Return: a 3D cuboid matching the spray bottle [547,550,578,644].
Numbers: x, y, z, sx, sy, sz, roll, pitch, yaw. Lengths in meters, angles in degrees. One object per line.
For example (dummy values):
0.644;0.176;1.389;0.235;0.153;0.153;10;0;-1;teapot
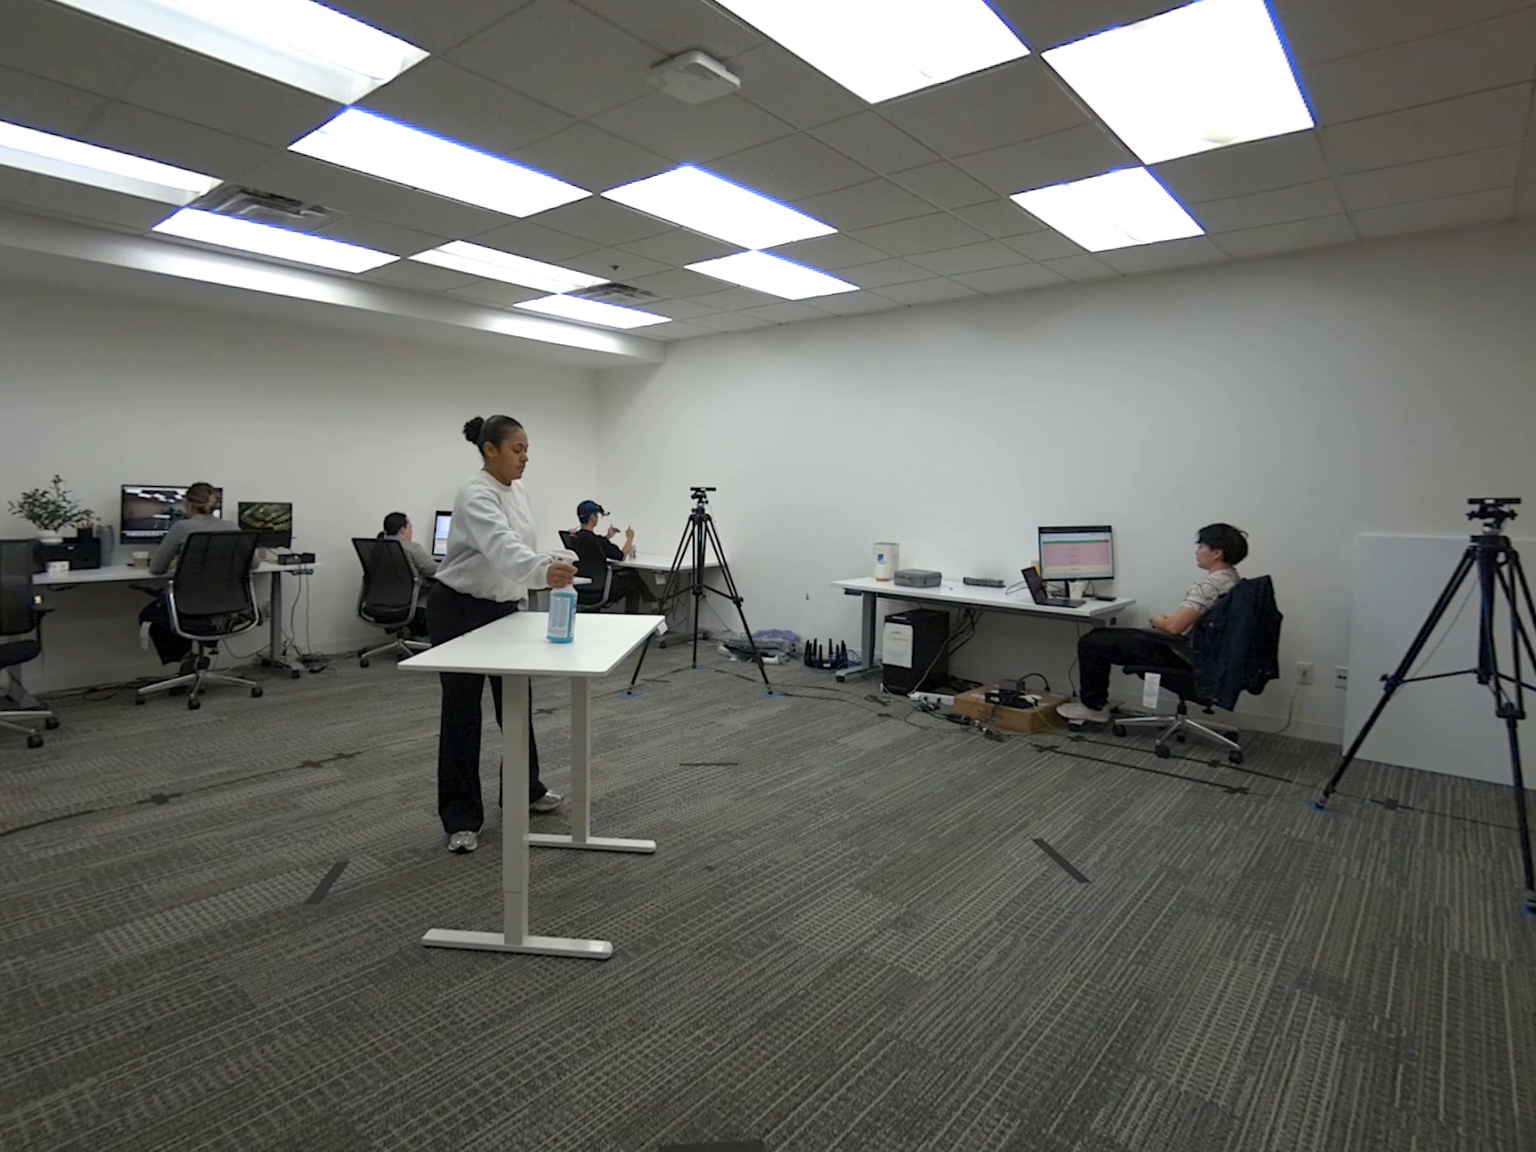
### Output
-0.680;0.056;2.784;0.093;0.298;0.084;3;-2;38;spray bottle
